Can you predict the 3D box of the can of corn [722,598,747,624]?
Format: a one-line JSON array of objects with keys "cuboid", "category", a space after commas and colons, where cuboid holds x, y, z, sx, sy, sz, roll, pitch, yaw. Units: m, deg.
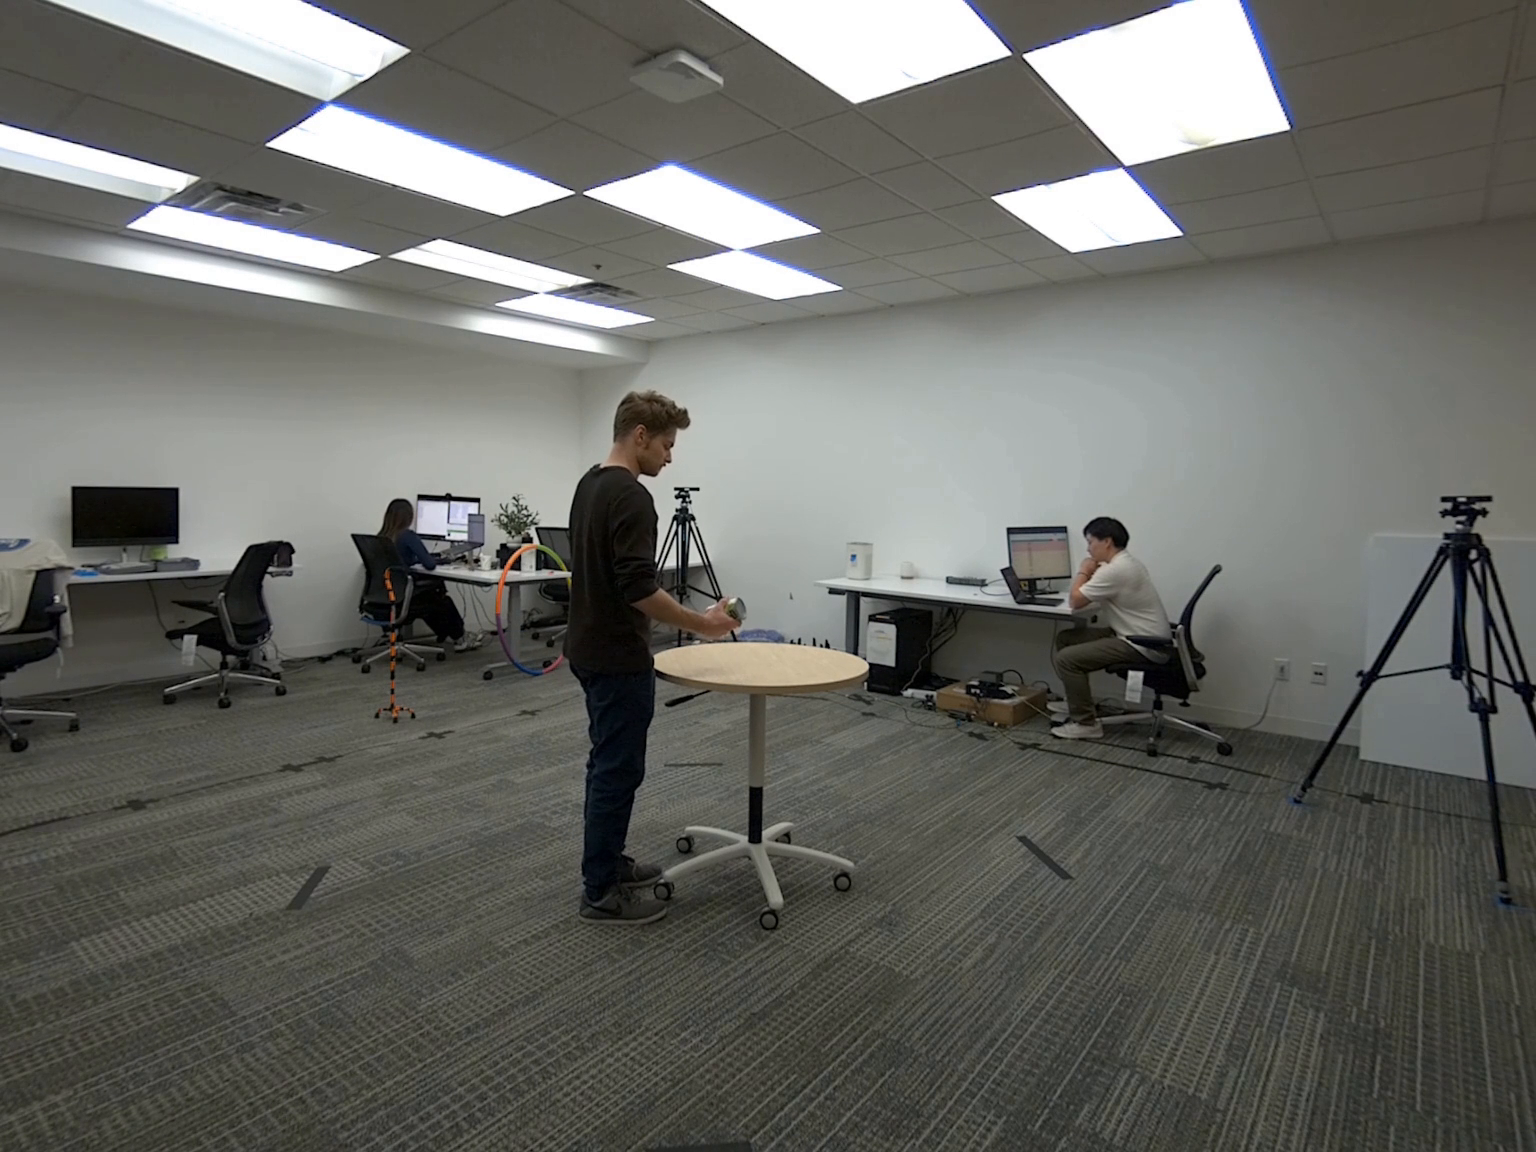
[{"cuboid": [-0.152, 0.125, 2.777, 0.113, 0.074, 0.073, -15, -2, 21], "category": "can of corn"}]
